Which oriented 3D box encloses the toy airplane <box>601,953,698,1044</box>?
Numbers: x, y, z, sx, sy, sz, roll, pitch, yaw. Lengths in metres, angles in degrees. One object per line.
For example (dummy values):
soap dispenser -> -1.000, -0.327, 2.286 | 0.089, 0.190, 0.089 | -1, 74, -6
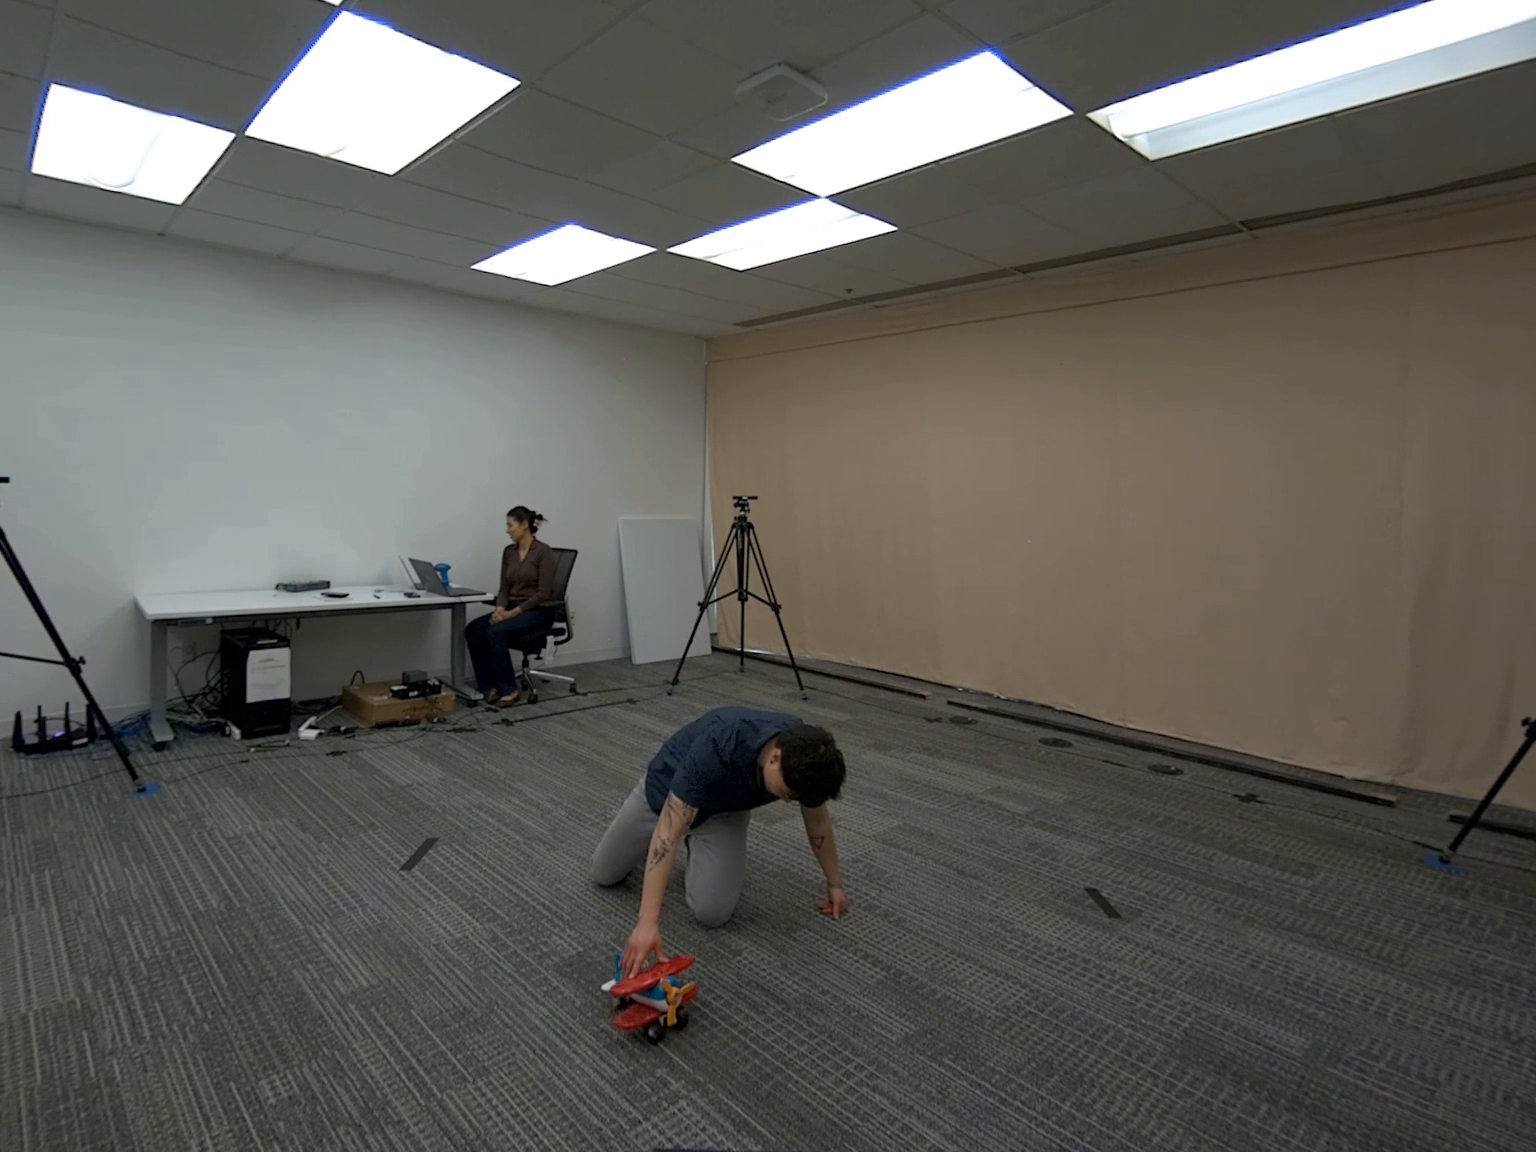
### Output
toy airplane -> -0.341, 1.113, 2.215 | 0.263, 0.156, 0.248 | 5, 5, 16
